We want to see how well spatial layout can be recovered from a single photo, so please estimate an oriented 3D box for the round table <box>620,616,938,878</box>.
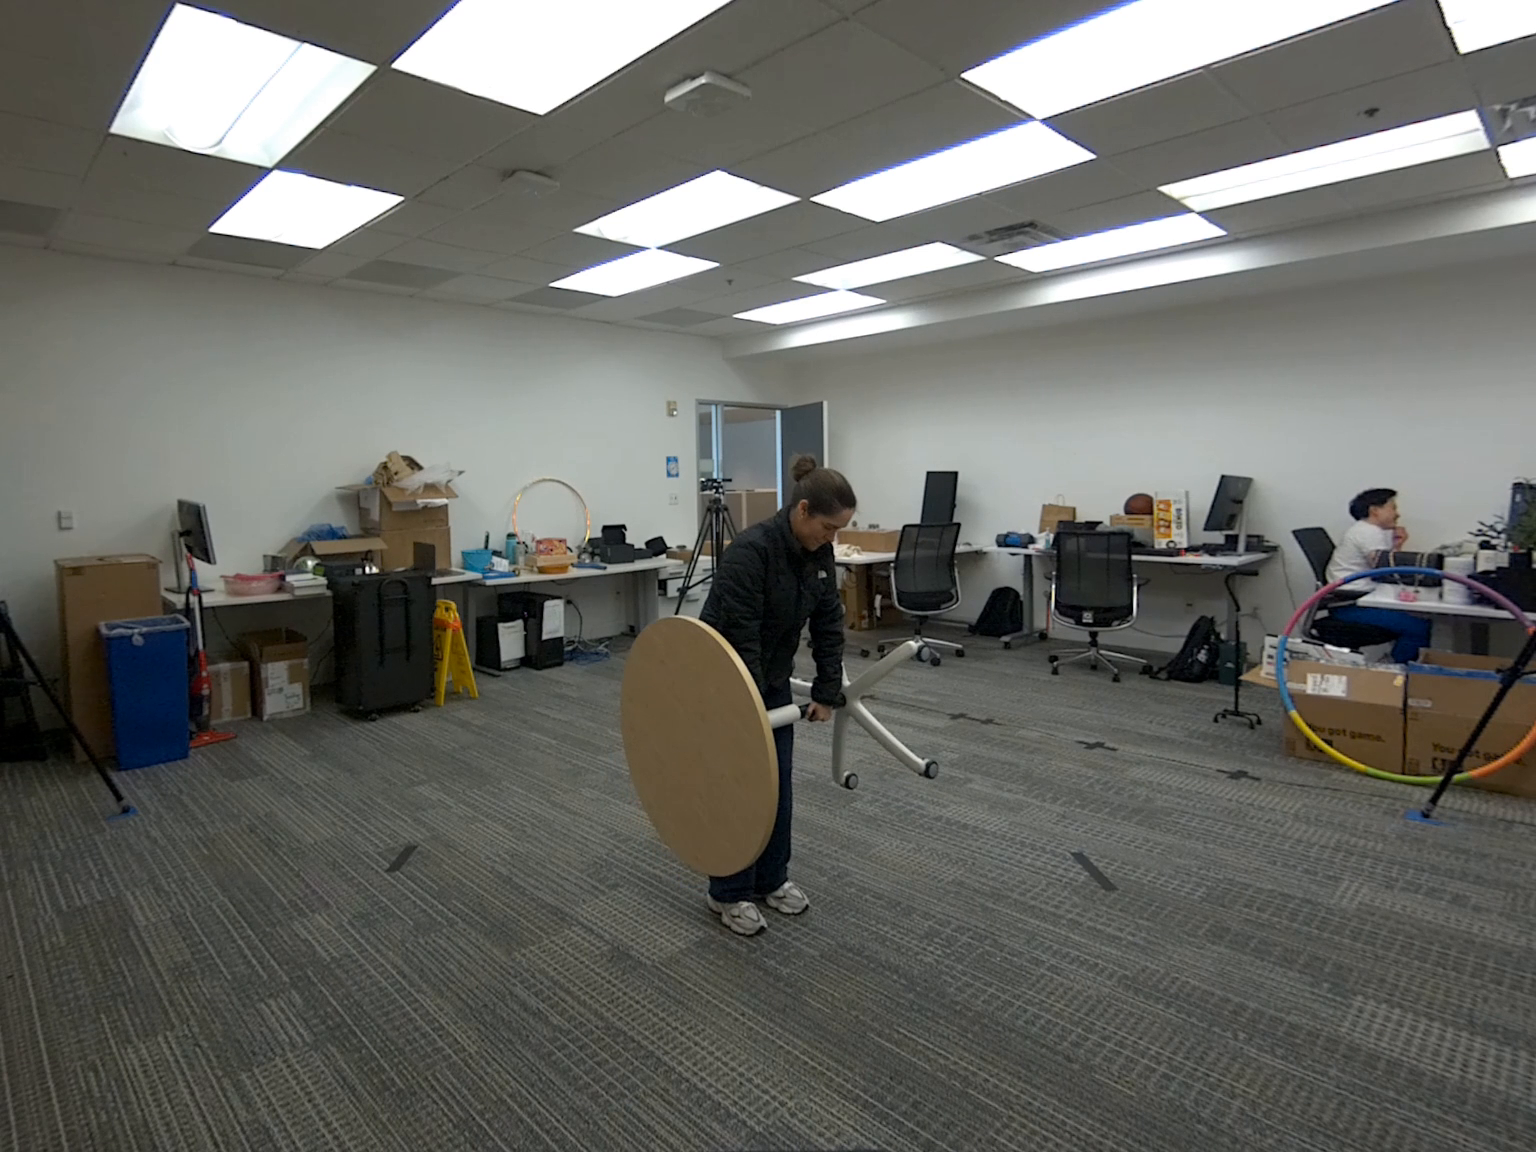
[{"bbox_3d":[0.051,0.465,2.803,0.766,0.781,0.809,-7,7,-40],"label":"round table"}]
